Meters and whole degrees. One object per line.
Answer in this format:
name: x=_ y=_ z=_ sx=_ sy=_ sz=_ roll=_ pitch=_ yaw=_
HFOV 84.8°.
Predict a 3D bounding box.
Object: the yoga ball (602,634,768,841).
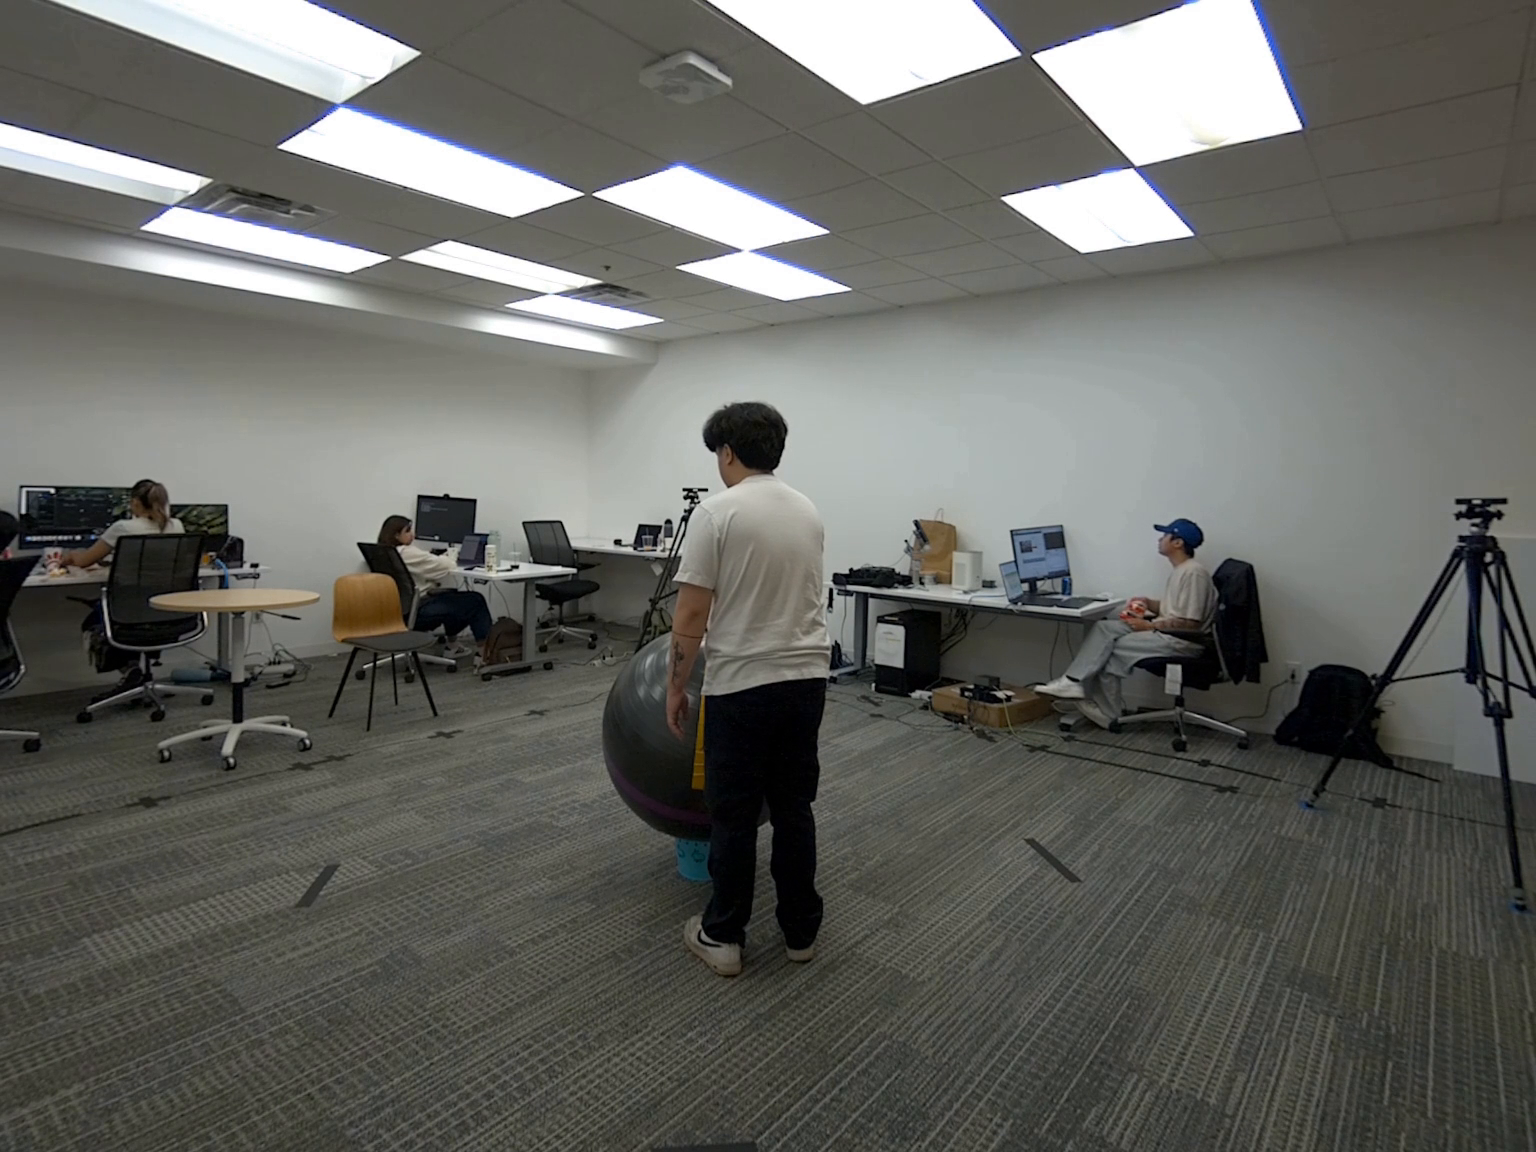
yoga ball: x=-0.228 y=0.564 z=3.090 sx=0.757 sy=0.756 sz=0.761 roll=1 pitch=4 yaw=-2
